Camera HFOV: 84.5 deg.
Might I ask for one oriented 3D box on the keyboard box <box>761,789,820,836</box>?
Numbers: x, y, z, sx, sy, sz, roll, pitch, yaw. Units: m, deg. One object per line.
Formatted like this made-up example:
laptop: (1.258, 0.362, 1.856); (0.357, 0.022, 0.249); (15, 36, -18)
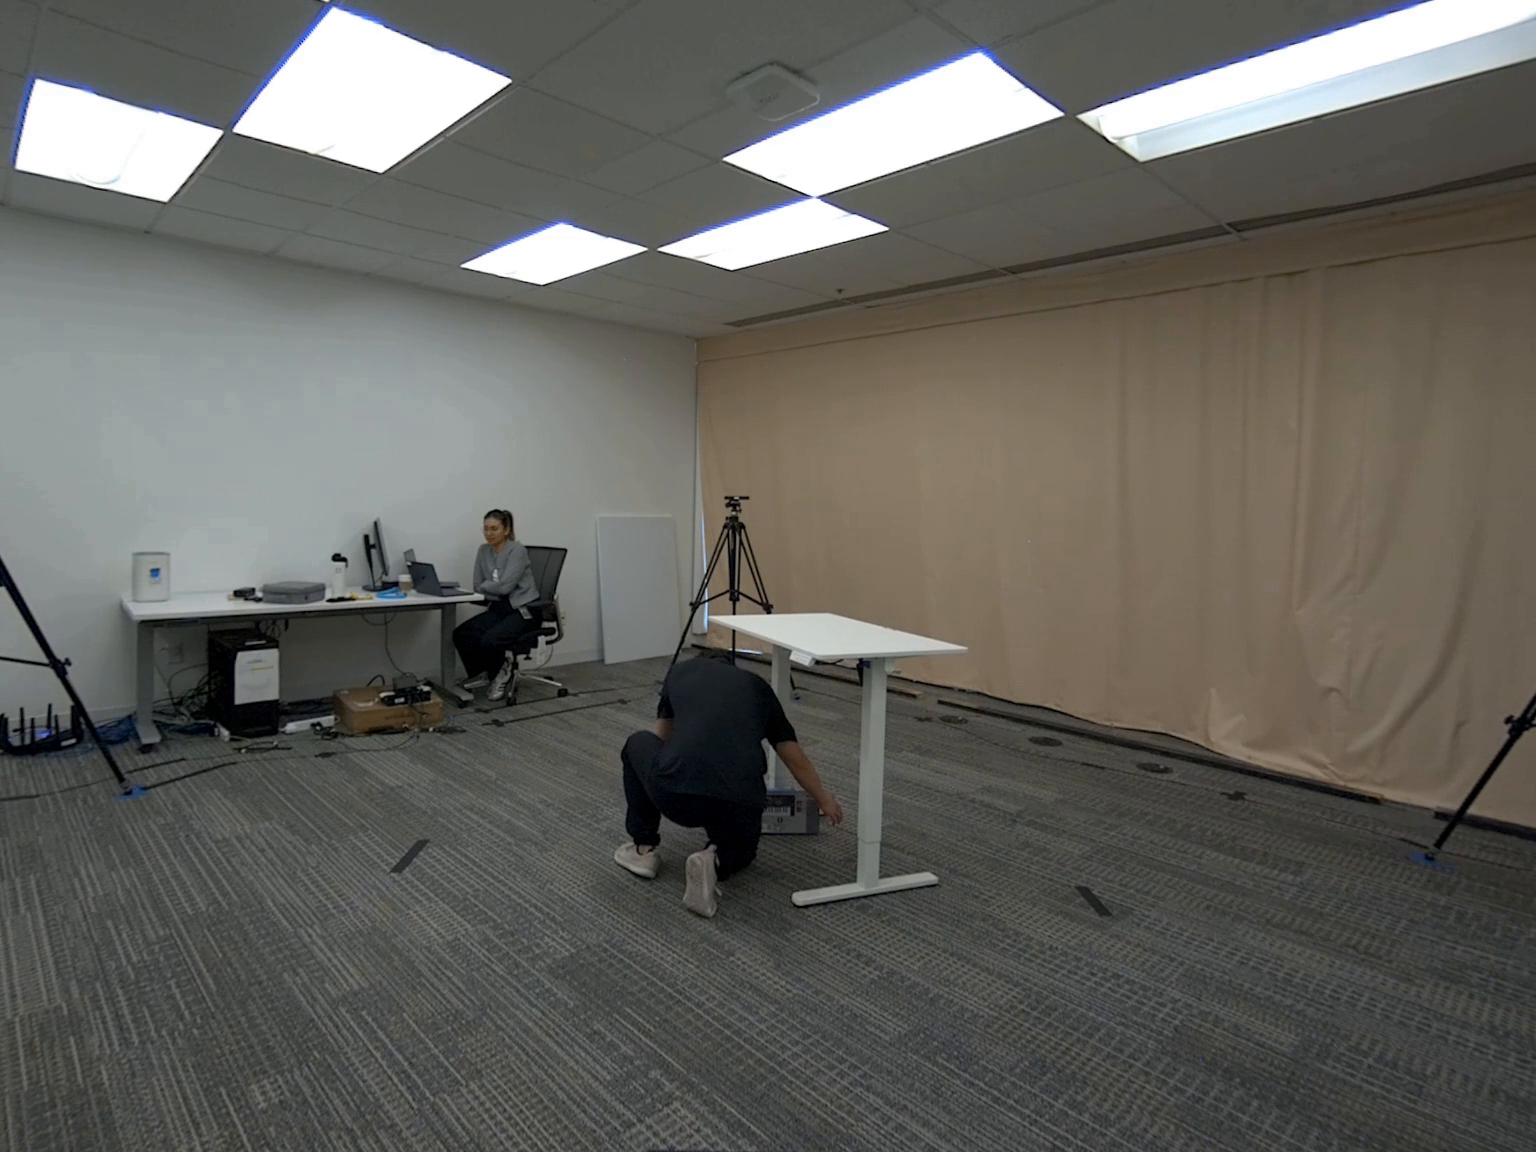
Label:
keyboard box: (-0.013, 0.987, 3.519); (0.435, 0.177, 0.059); (1, -6, -4)
